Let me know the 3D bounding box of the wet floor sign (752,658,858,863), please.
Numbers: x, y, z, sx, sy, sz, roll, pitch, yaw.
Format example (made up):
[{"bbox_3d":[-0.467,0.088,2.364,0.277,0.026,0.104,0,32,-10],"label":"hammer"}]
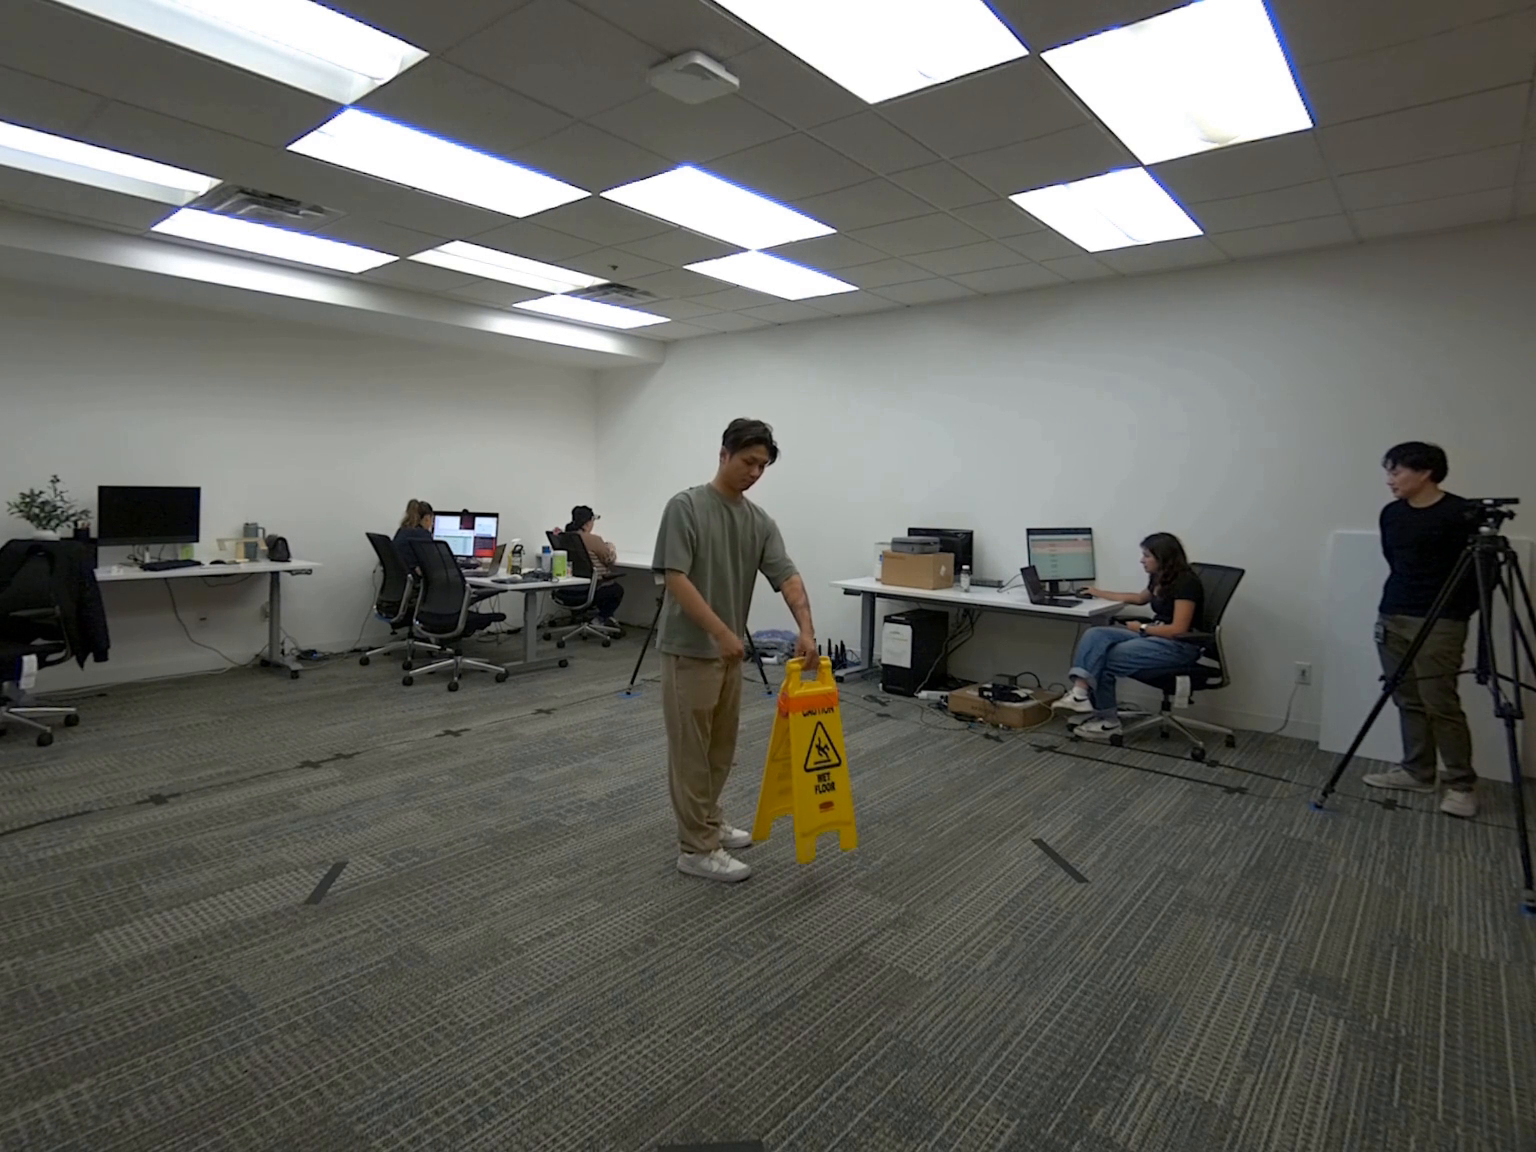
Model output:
[{"bbox_3d":[0.124,0.610,2.964,0.273,0.646,0.299,3,0,-41],"label":"wet floor sign"}]
